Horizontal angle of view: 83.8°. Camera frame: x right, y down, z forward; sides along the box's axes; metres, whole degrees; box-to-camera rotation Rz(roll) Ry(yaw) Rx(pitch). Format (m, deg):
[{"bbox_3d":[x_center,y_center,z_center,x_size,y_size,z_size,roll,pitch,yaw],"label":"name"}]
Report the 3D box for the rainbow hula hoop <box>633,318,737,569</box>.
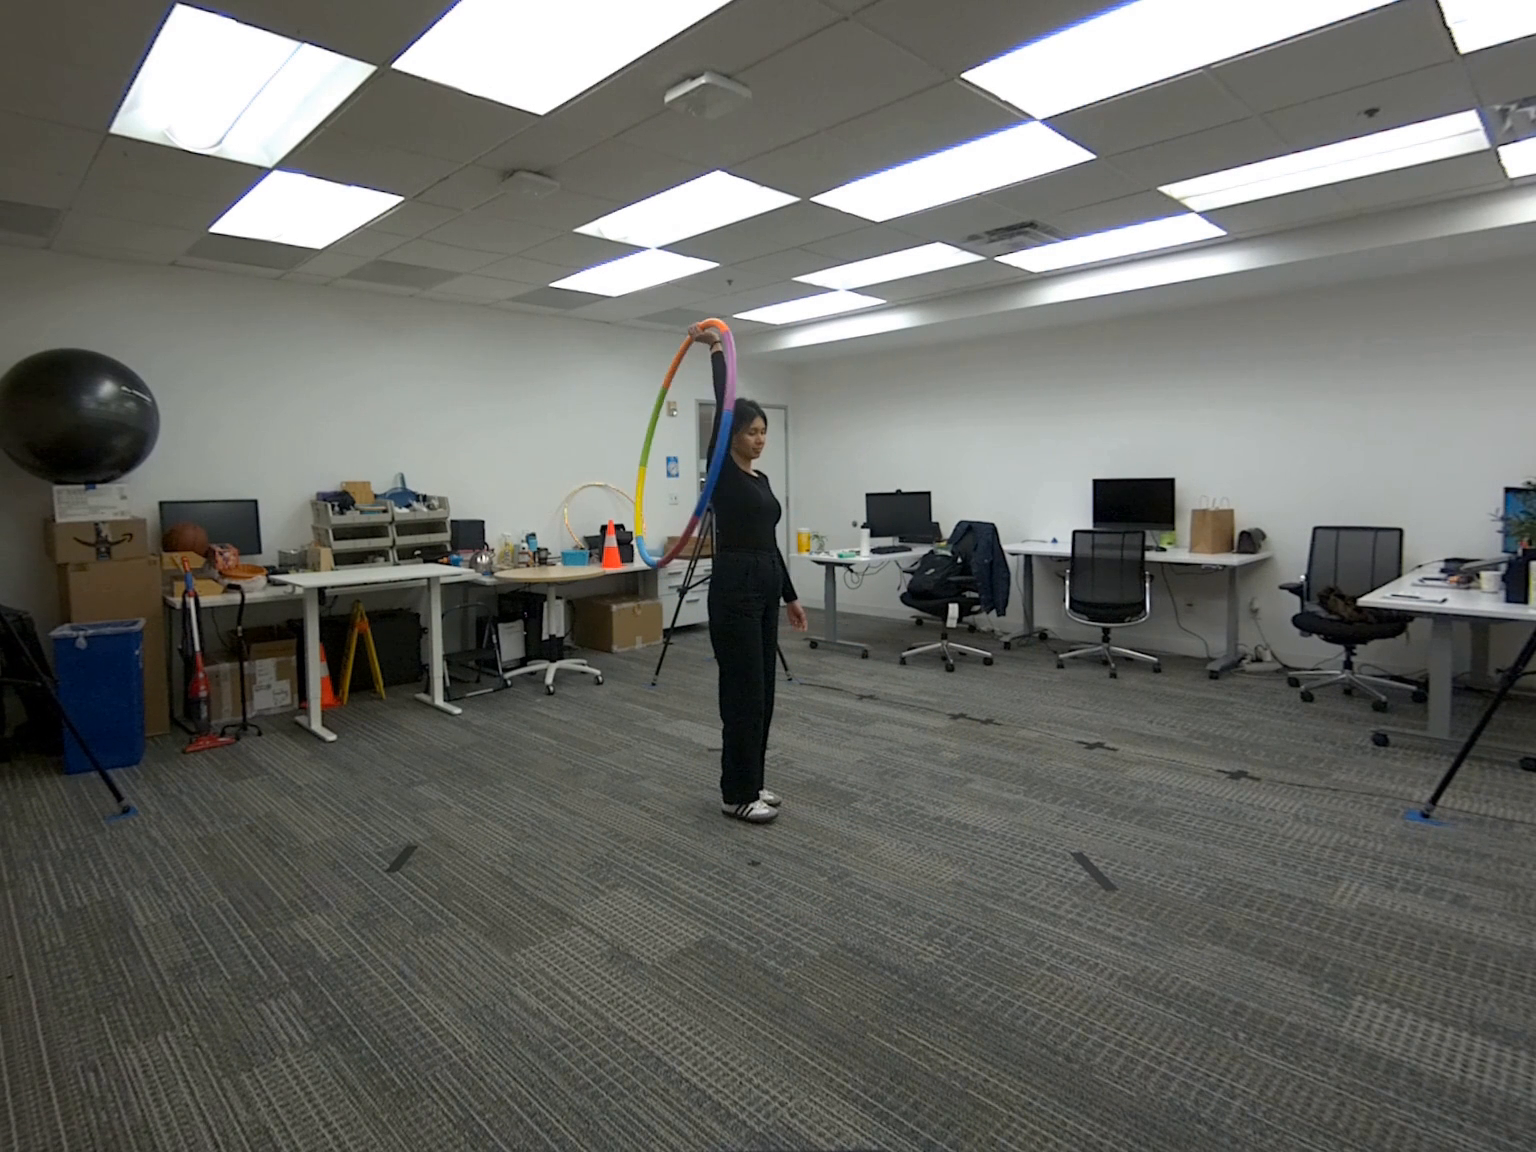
[{"bbox_3d":[-0.332,-0.510,3.343,0.050,0.986,1.008,12,0,-24],"label":"rainbow hula hoop"}]
